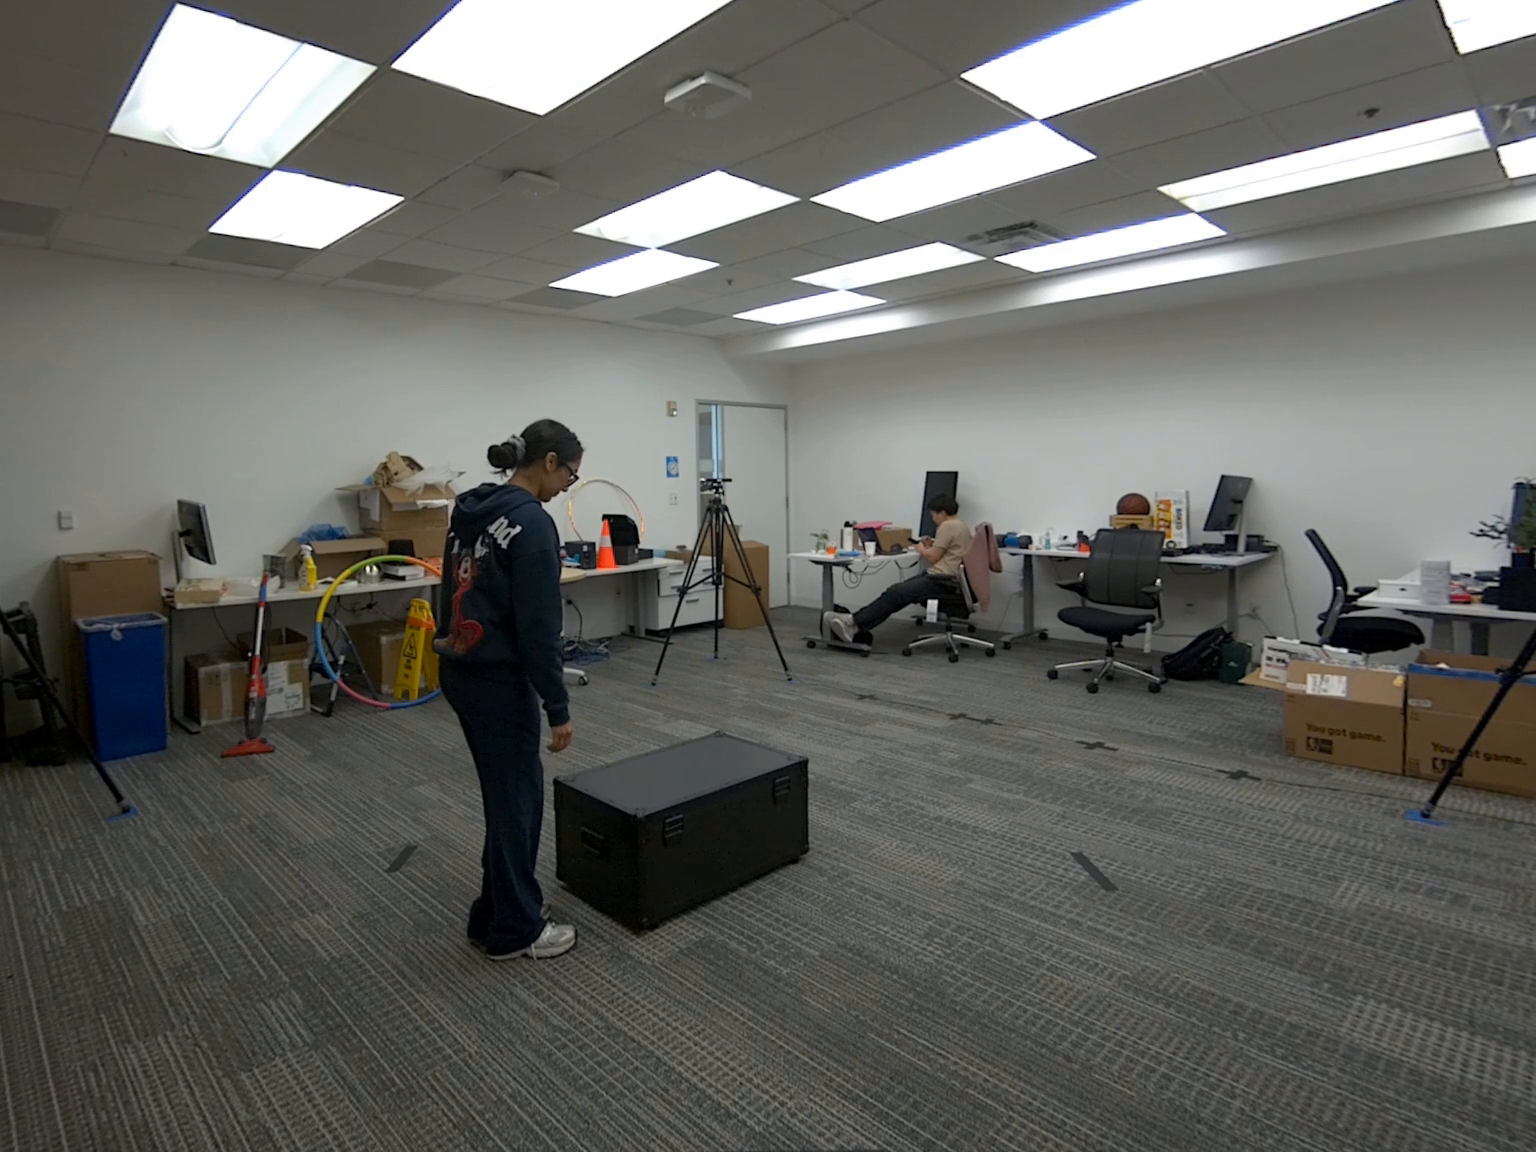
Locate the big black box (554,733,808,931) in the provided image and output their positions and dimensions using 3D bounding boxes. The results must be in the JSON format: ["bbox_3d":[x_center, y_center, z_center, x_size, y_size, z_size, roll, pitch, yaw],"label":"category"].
[{"bbox_3d":[-0.267,0.864,3.058,0.840,0.394,0.537,-8,9,-44],"label":"big black box"}]
